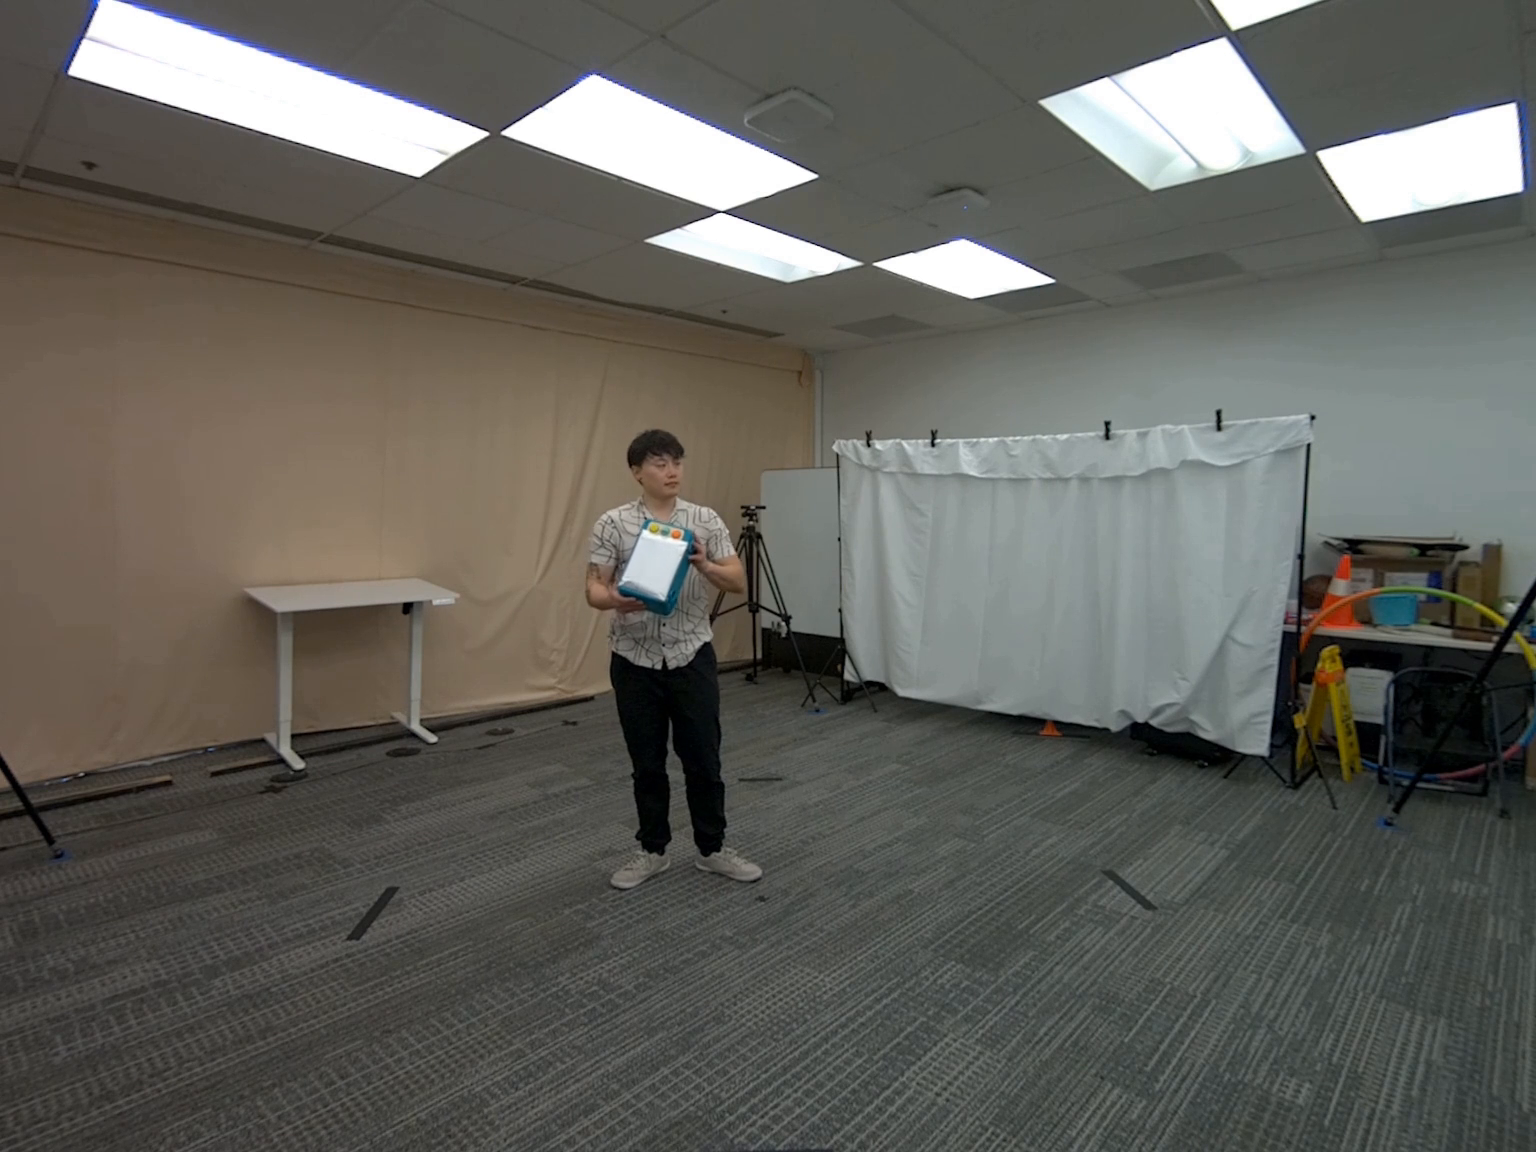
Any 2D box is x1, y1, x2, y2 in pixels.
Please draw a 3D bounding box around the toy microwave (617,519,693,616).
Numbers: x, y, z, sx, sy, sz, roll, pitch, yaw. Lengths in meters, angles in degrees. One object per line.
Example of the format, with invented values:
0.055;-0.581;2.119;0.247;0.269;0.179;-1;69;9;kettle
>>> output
-0.364;-0.033;2.802;0.187;0.287;0.149;18;-22;11;toy microwave
